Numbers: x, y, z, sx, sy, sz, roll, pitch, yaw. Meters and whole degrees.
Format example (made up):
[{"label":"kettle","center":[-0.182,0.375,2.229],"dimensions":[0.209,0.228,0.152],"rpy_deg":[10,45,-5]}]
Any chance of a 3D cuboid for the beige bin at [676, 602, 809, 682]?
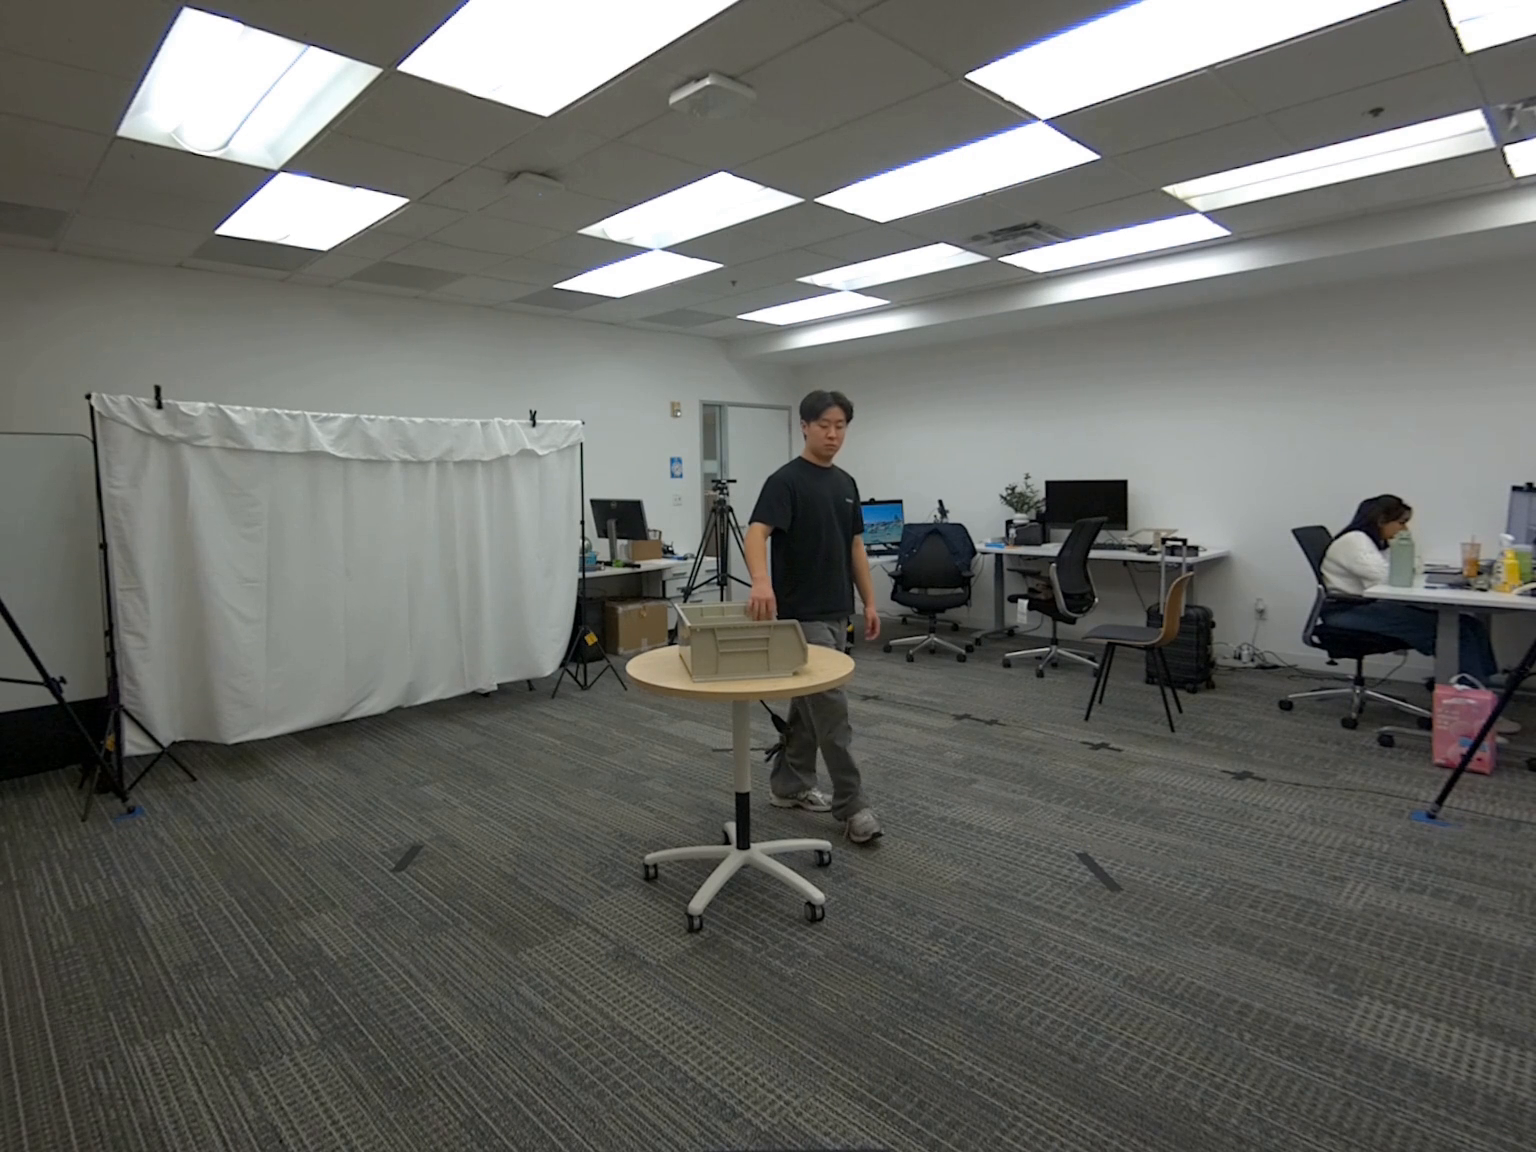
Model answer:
[{"label":"beige bin","center":[-0.096,0.203,2.837],"dimensions":[0.374,0.188,0.429],"rpy_deg":[-4,7,-11]}]
